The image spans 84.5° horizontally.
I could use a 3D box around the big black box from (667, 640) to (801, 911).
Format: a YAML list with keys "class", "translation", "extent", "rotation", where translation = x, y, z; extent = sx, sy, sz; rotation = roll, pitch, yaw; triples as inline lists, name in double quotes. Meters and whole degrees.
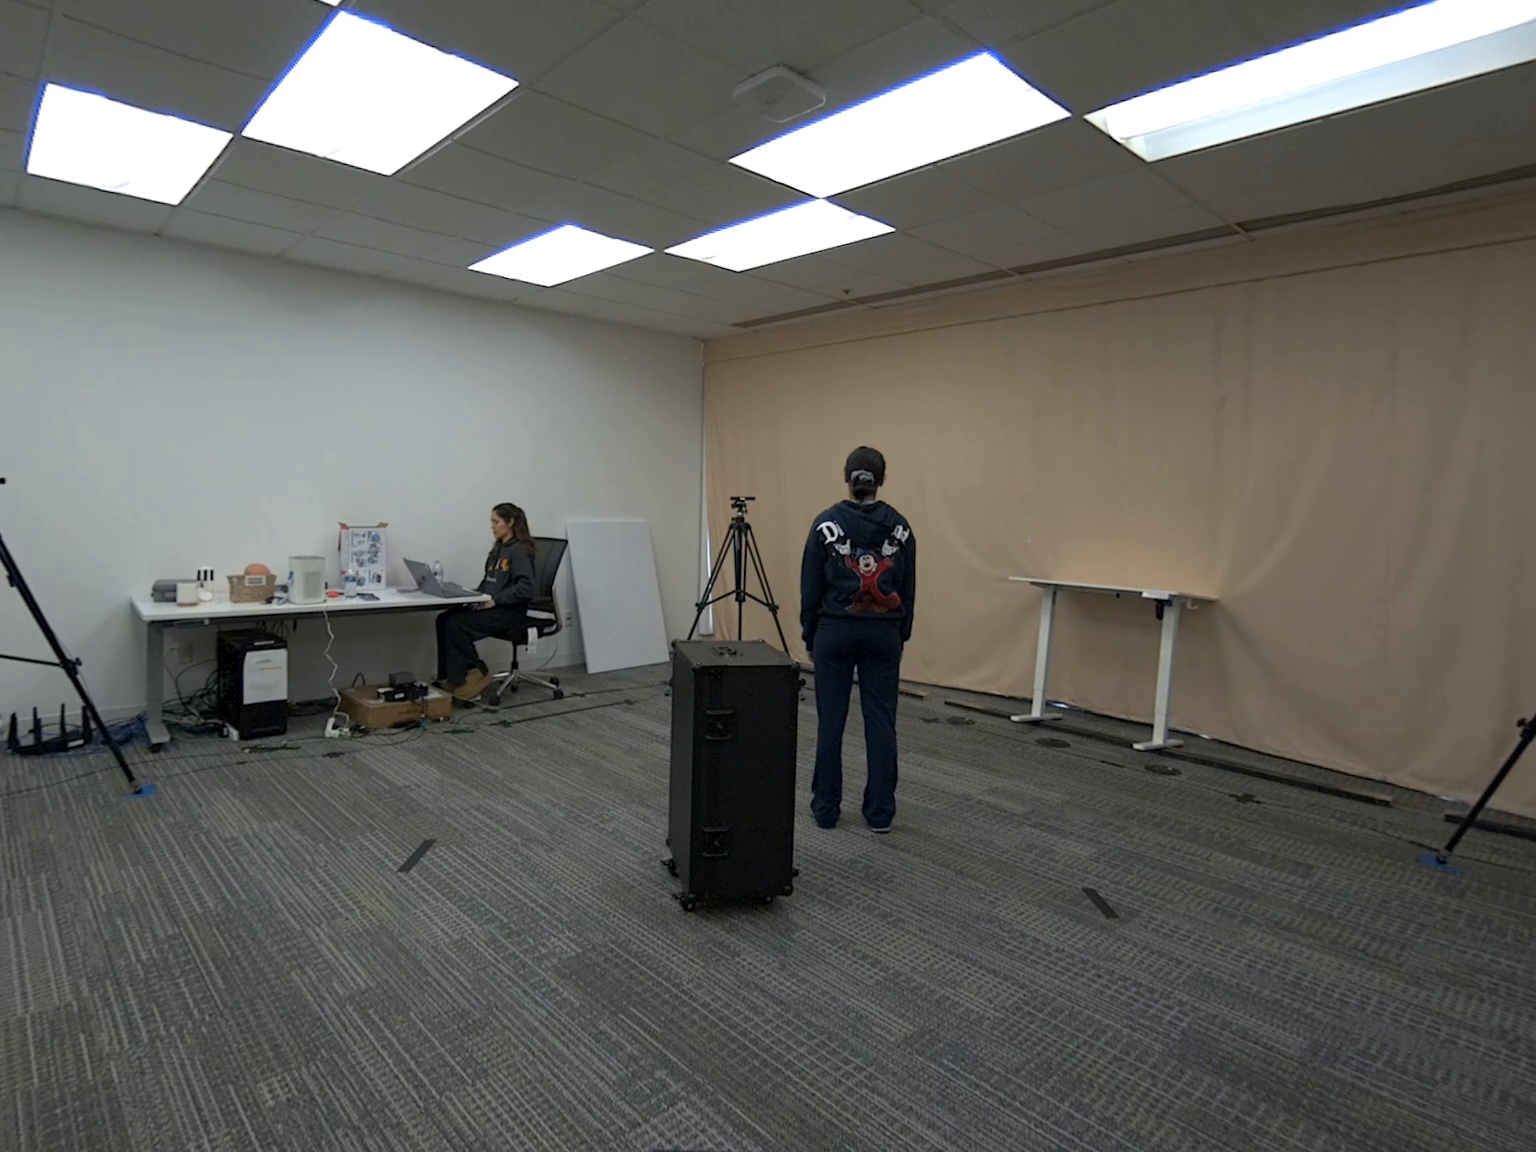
- class: "big black box"
  translation: [-0.138, 0.692, 2.996]
  extent: [0.392, 0.860, 0.528]
  rotation: [2, 3, -14]
